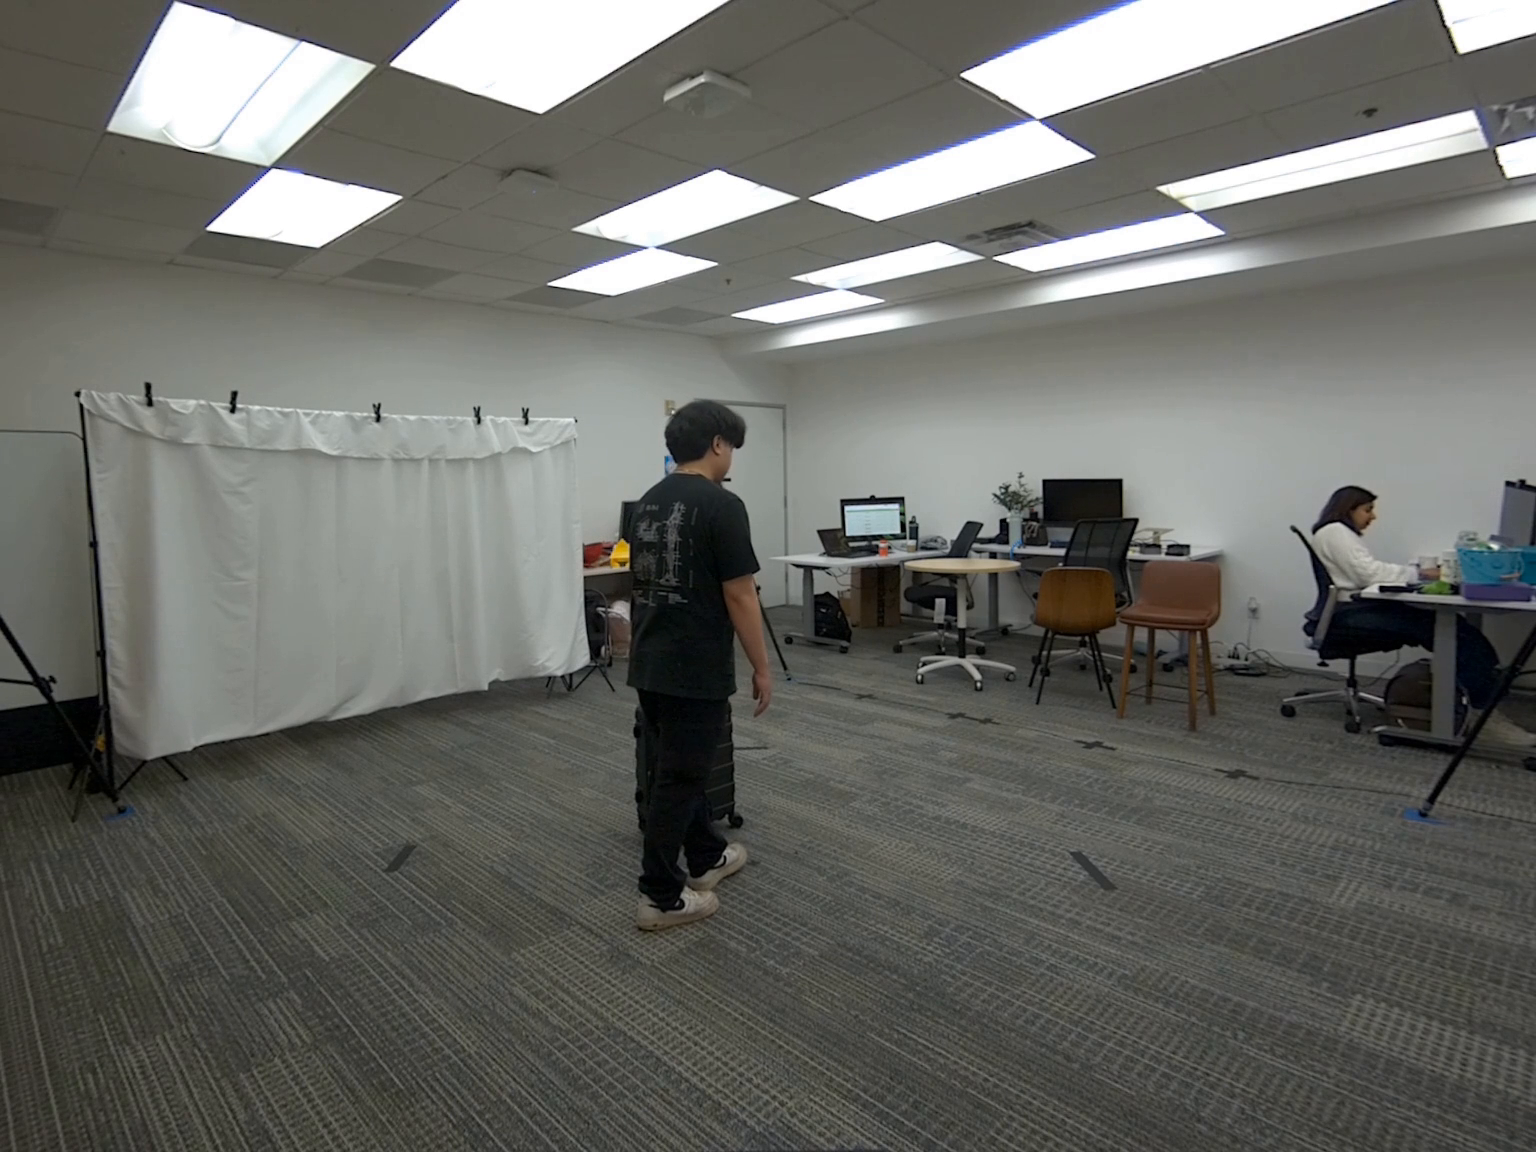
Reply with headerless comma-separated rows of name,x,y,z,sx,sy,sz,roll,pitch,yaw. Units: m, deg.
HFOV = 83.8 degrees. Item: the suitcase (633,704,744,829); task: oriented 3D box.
suitcase,-0.324,0.739,3.395,0.365,0.547,0.256,-5,5,-42
